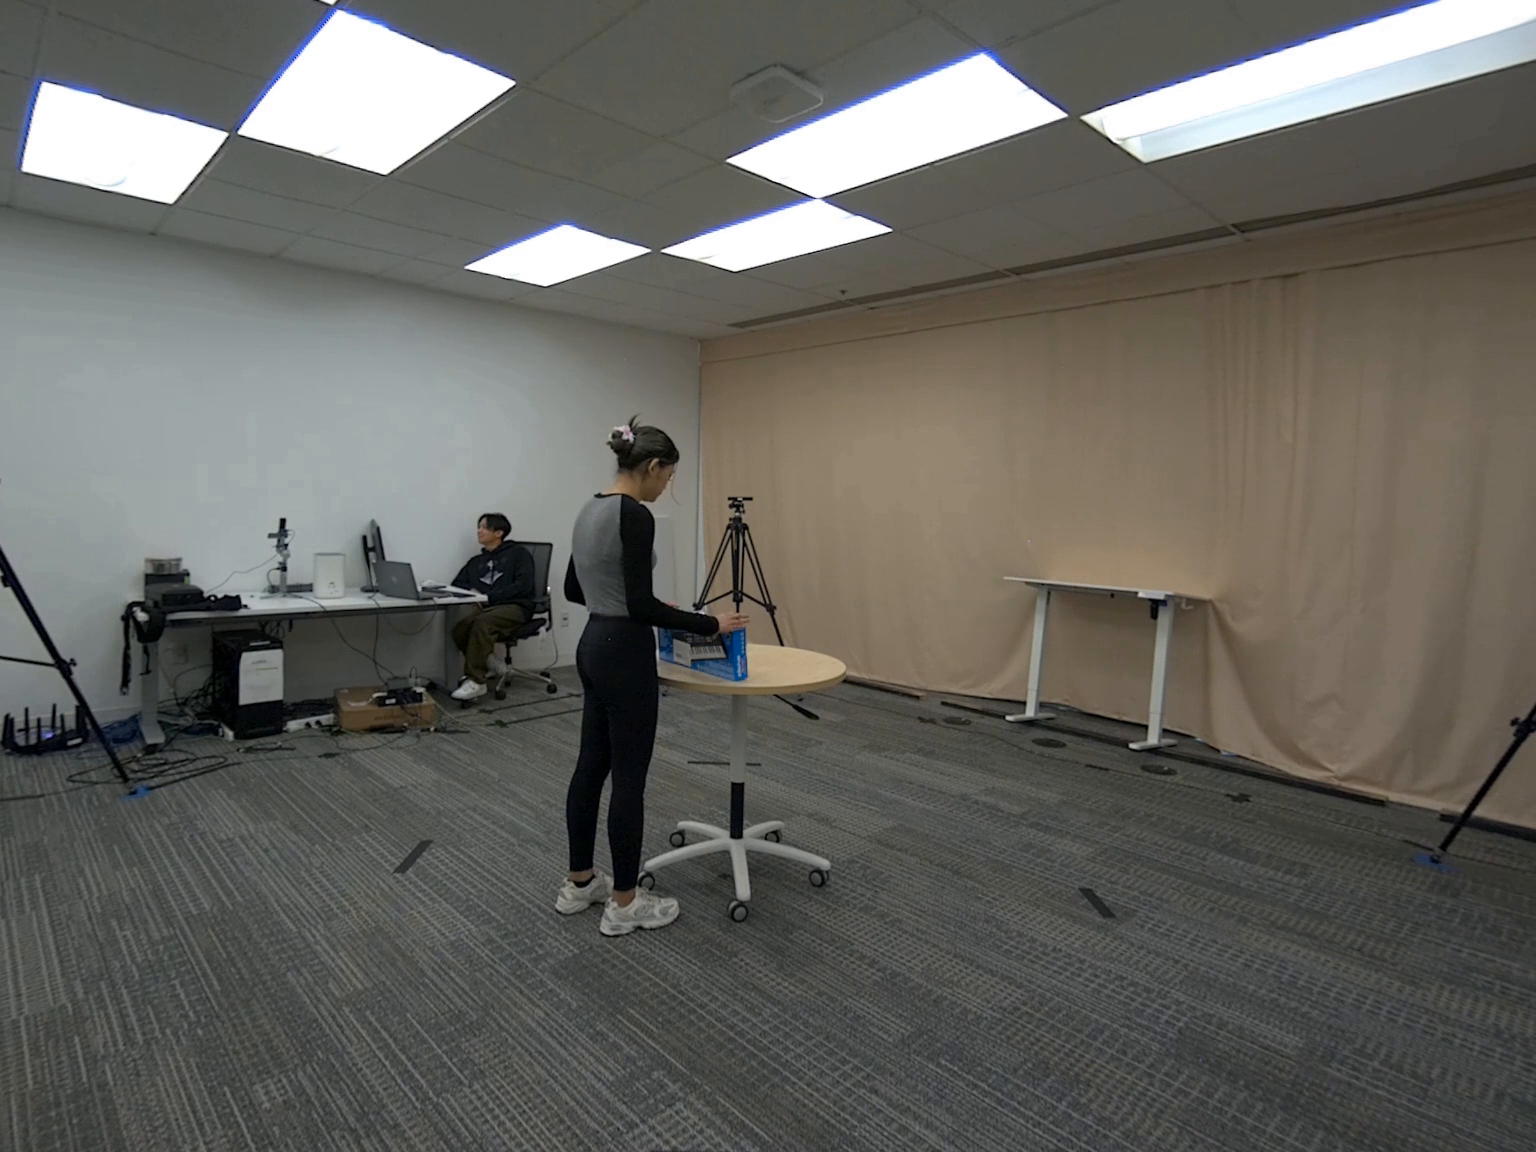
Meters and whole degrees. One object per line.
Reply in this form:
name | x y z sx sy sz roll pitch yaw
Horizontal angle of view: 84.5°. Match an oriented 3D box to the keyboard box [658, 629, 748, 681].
keyboard box | -0.244 0.242 2.940 0.058 0.175 0.448 -10 11 -40
